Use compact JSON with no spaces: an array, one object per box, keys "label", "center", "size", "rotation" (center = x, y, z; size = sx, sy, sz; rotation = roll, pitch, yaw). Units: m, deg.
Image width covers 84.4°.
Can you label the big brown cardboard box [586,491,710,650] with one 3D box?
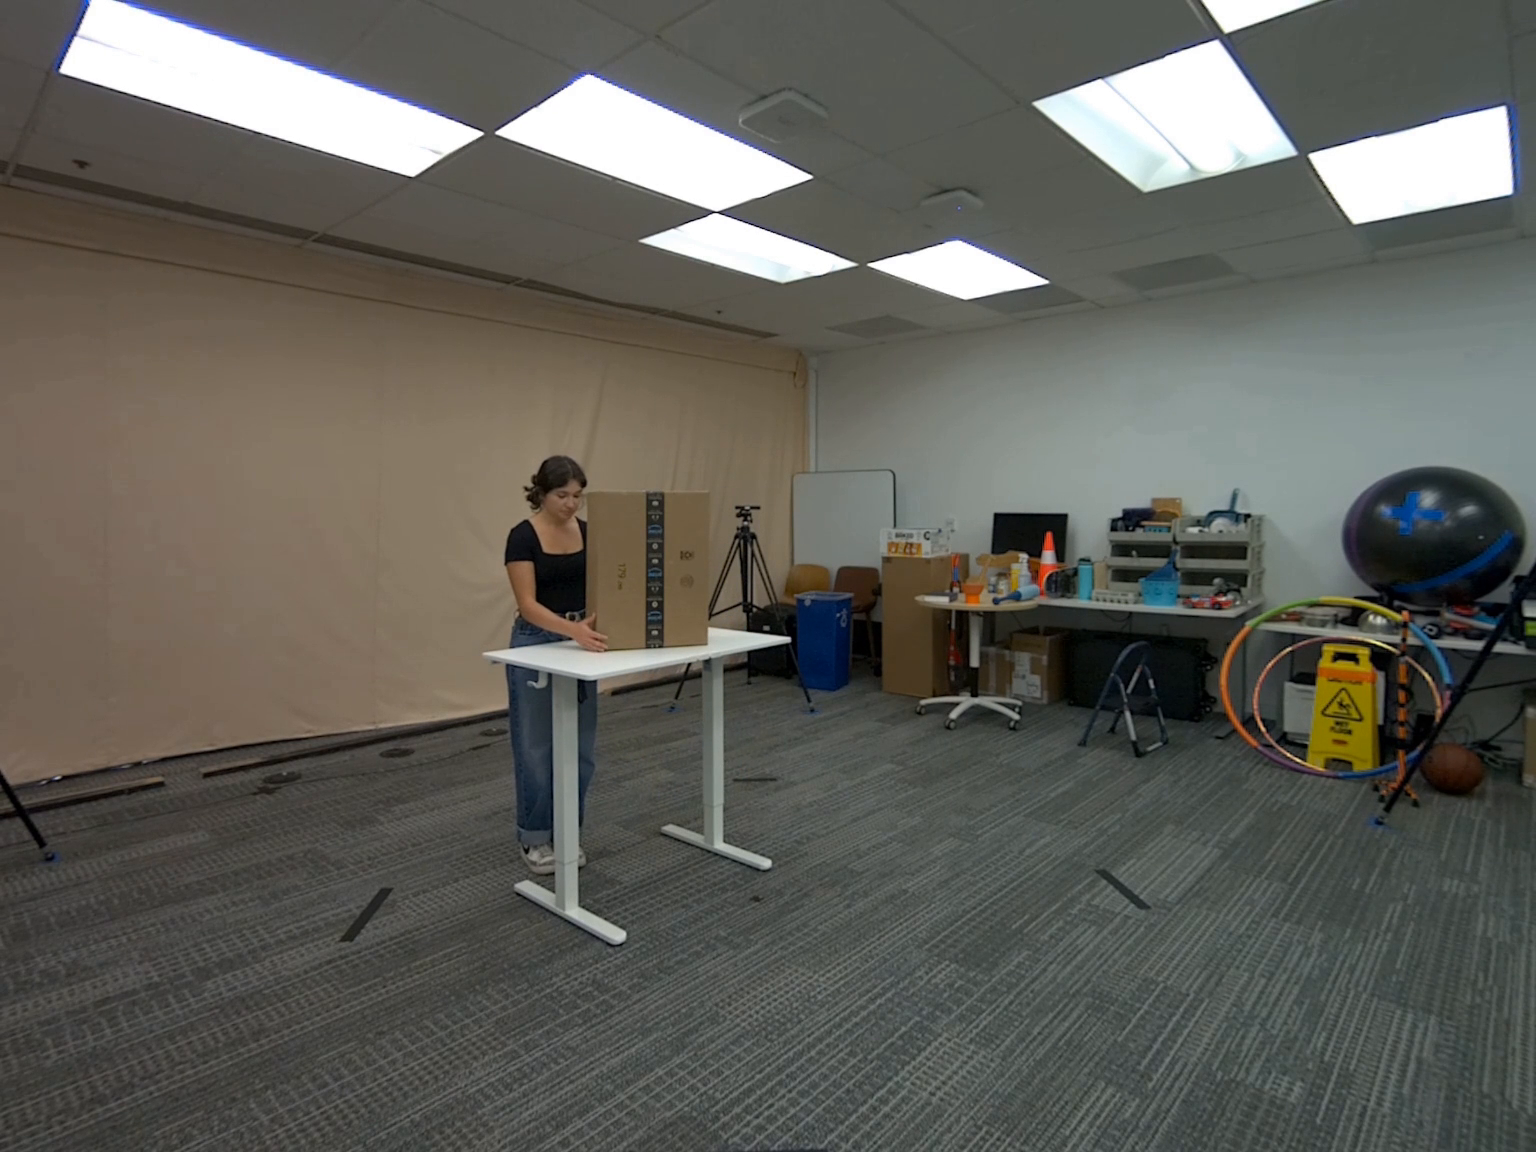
[{"label":"big brown cardboard box","center":[-0.442,-0.026,3.113],"size":[0.409,0.588,0.238],"rotation":[0,4,-19]}]
